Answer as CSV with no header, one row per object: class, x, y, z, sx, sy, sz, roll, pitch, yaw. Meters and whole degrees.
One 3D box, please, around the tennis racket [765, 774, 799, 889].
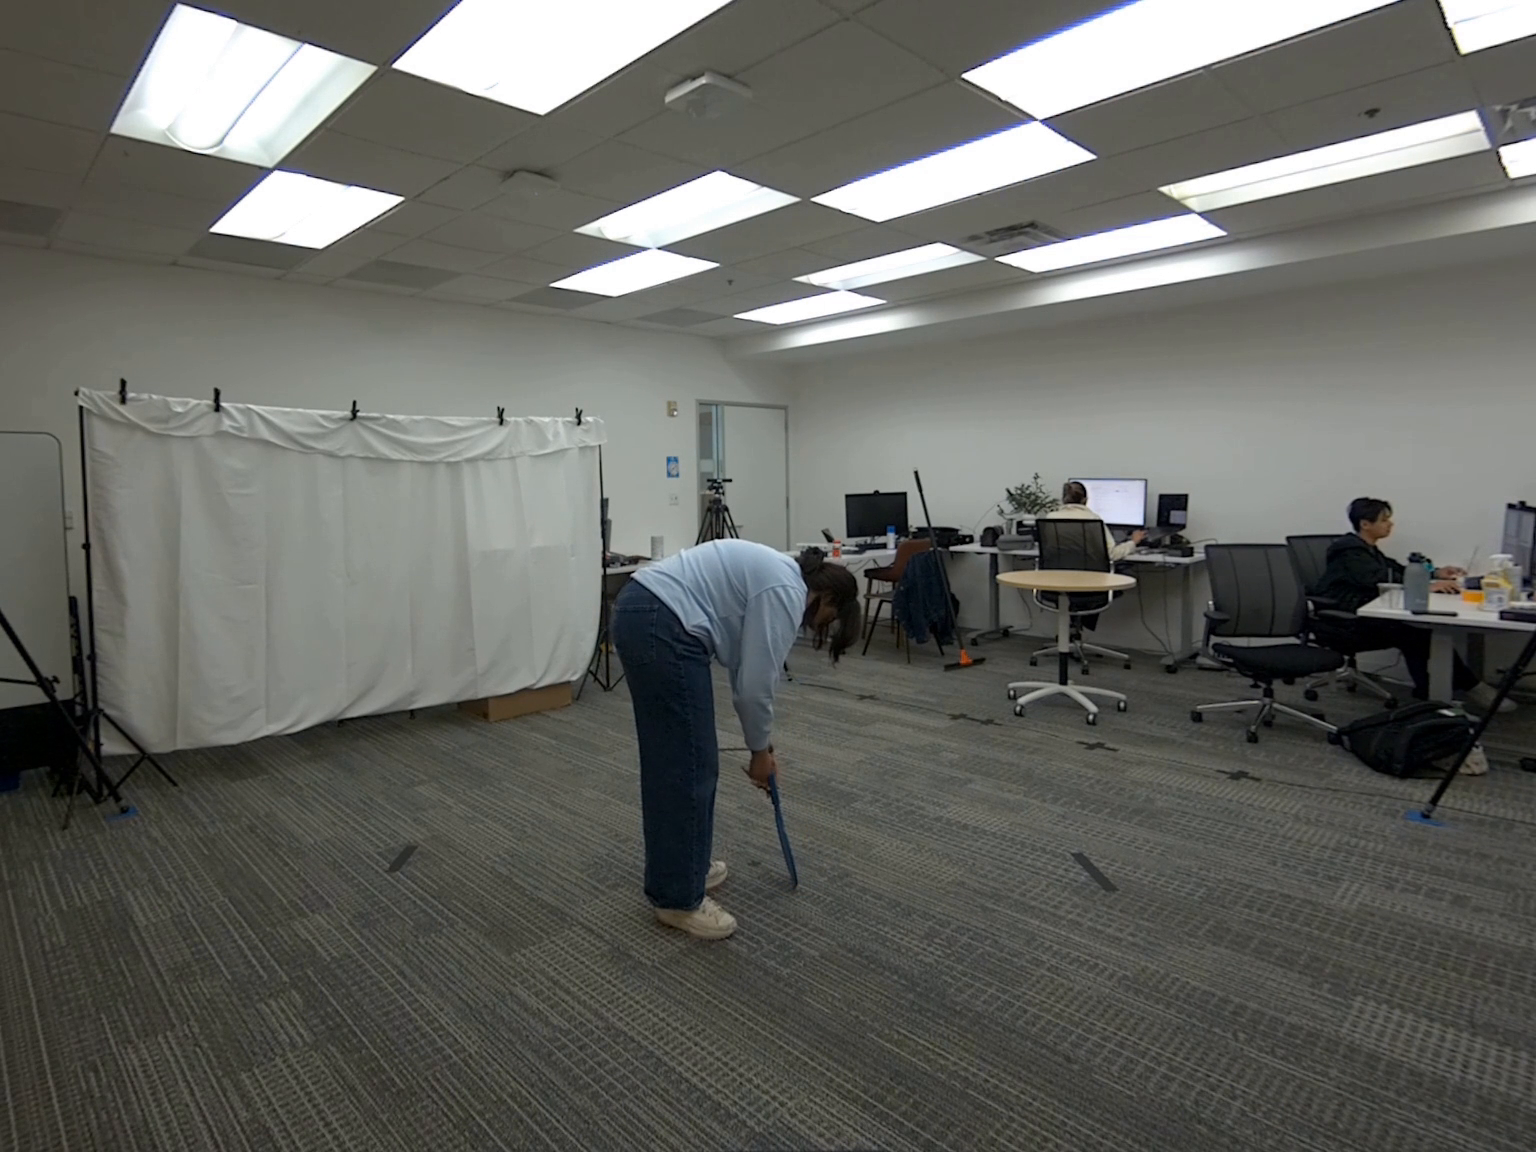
tennis racket,0.030,0.870,2.917,0.032,0.426,0.217,-12,14,-4
